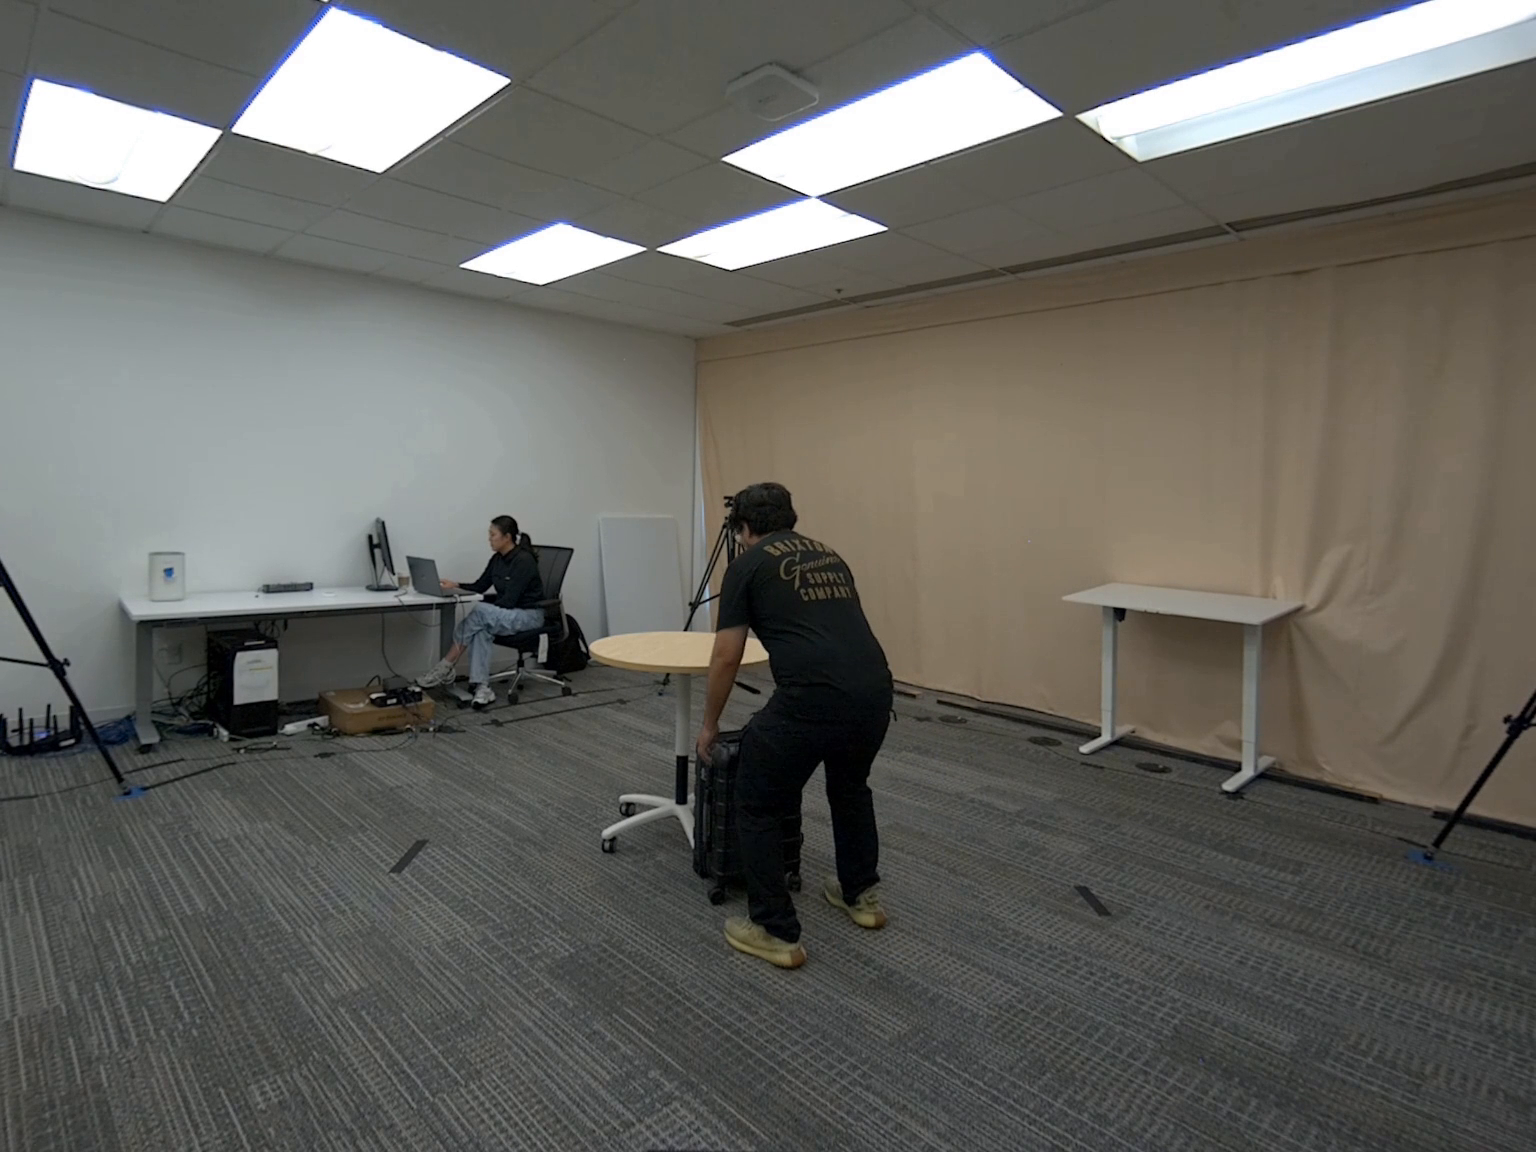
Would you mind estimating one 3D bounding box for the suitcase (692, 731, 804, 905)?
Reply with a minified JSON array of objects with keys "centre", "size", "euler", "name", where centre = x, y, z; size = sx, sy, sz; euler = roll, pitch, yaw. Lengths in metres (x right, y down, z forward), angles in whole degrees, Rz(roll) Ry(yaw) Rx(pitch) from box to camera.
[{"centre":[-0.071,0.831,3.038],"size":[0.368,0.548,0.253],"euler":[2,3,-25],"name":"suitcase"}]
